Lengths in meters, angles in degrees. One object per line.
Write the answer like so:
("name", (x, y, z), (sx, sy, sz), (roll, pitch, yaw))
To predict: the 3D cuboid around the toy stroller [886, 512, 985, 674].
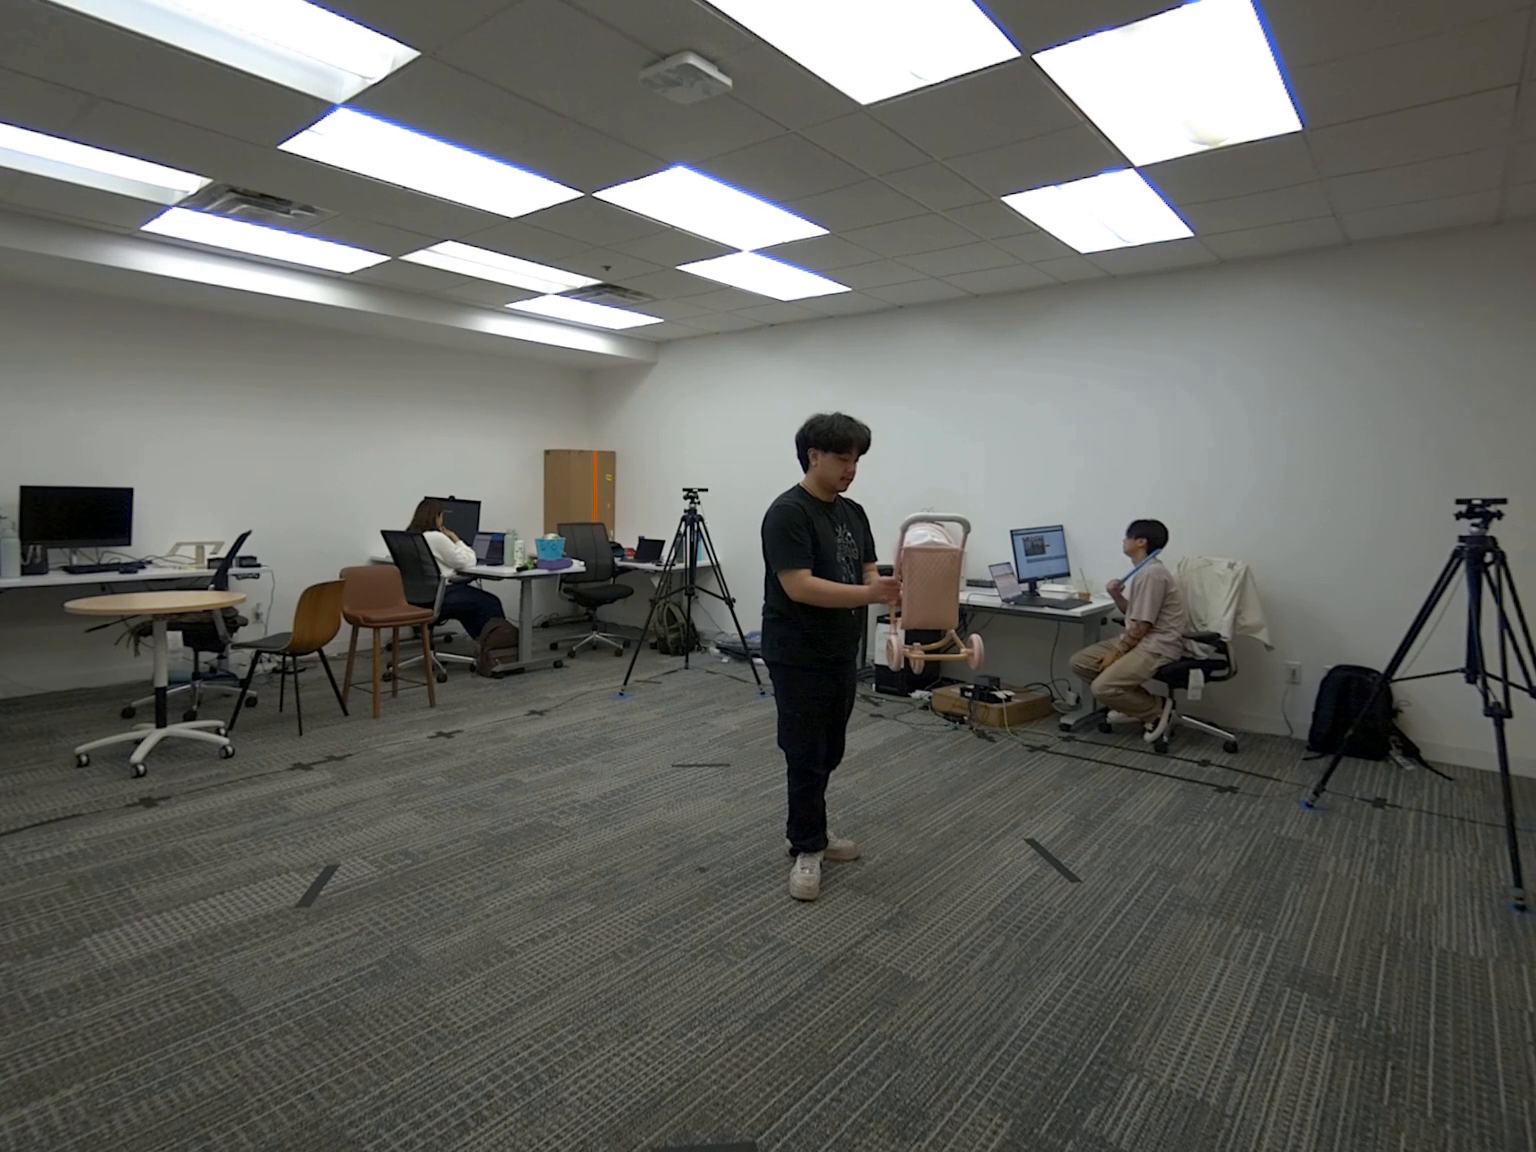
("toy stroller", (0.502, 0.067, 2.696), (0.282, 0.534, 0.341), (-2, 2, 1))
